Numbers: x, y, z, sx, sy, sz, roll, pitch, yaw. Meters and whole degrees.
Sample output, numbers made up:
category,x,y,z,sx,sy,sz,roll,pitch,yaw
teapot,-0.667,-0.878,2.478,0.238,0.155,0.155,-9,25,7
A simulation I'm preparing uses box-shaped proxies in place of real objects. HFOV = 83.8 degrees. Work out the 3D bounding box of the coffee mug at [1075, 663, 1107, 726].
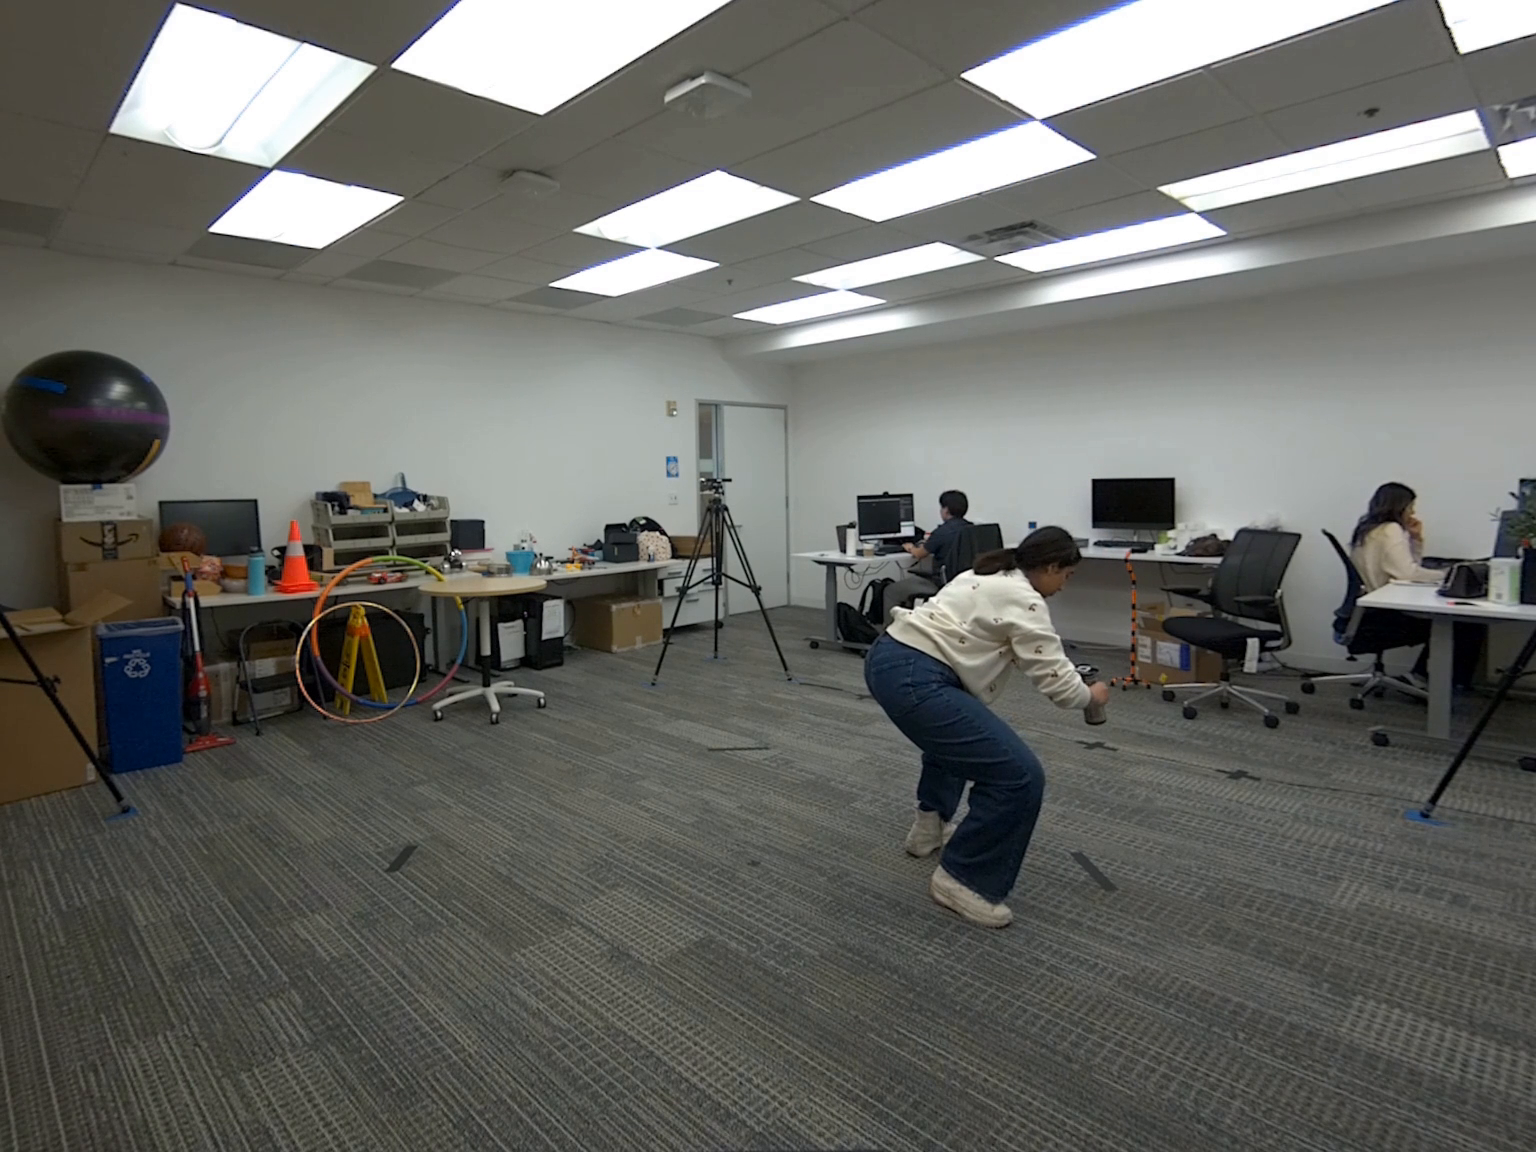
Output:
category,x,y,z,sx,sy,sz,roll,pitch,yaw
coffee mug,1.133,0.418,2.983,0.086,0.203,0.124,-17,-1,-43
